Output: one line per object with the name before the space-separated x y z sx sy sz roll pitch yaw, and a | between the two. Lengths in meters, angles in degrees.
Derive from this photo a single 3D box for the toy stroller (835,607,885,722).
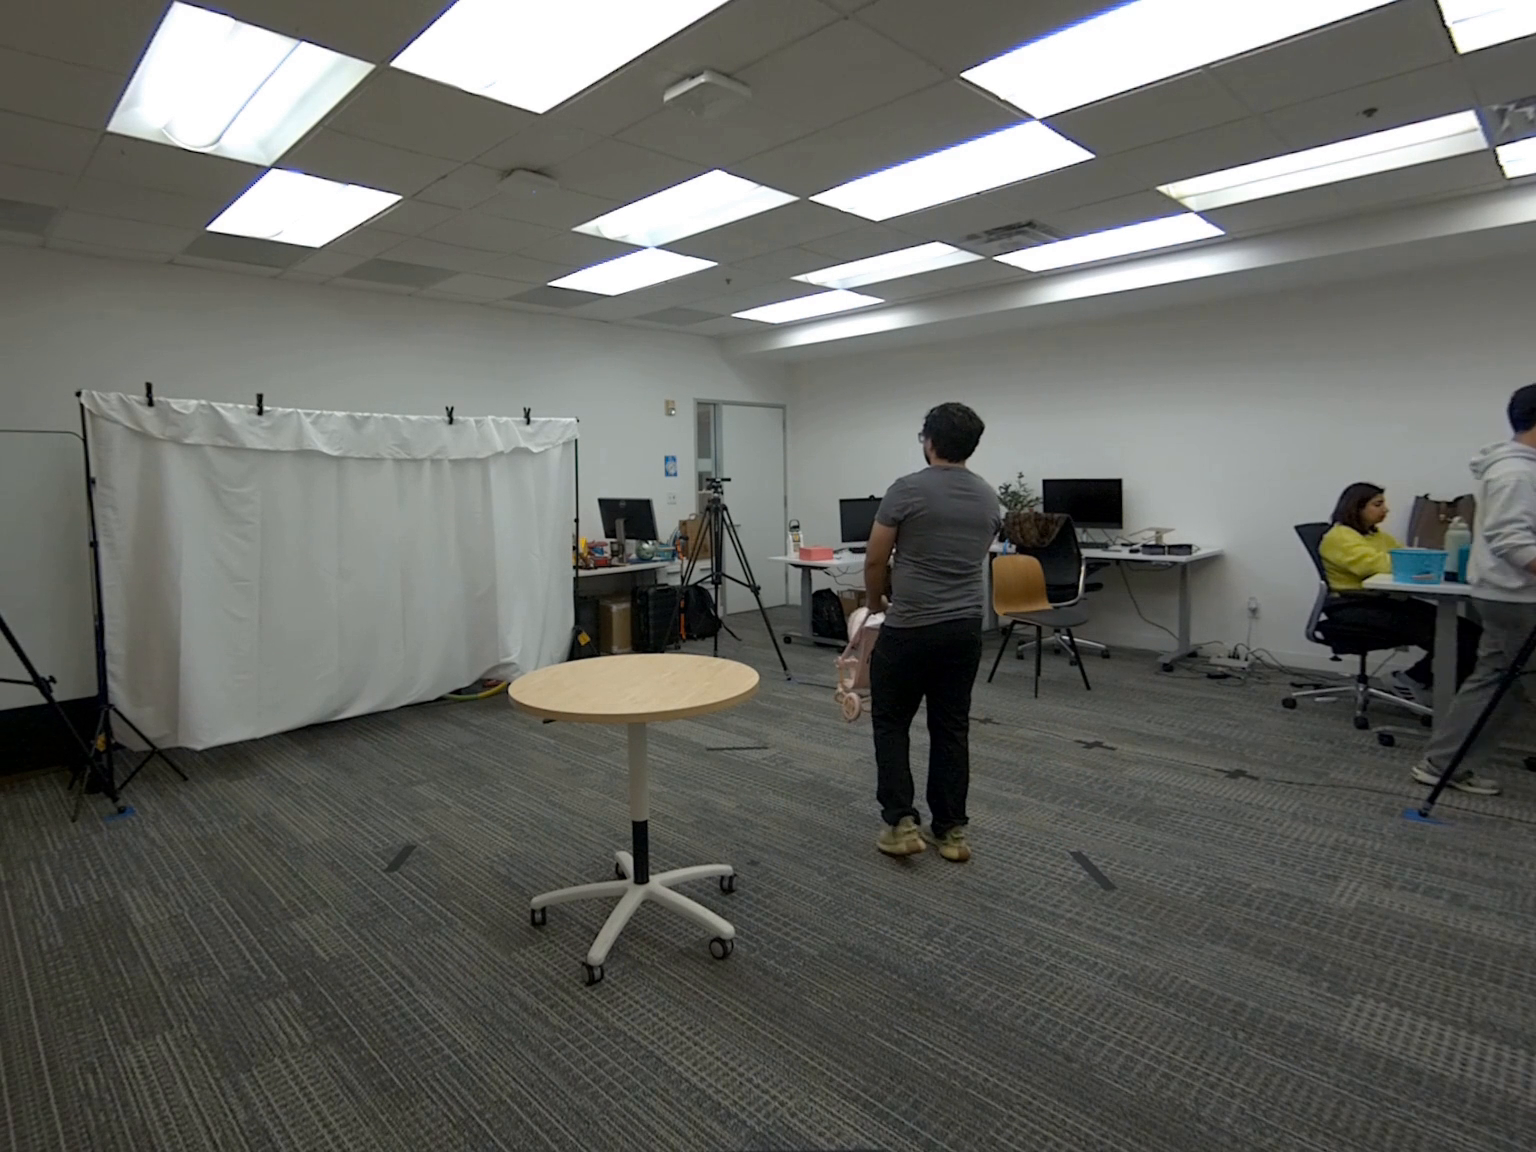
toy stroller | 0.418 0.375 3.552 0.276 0.535 0.348 4 0 -20
